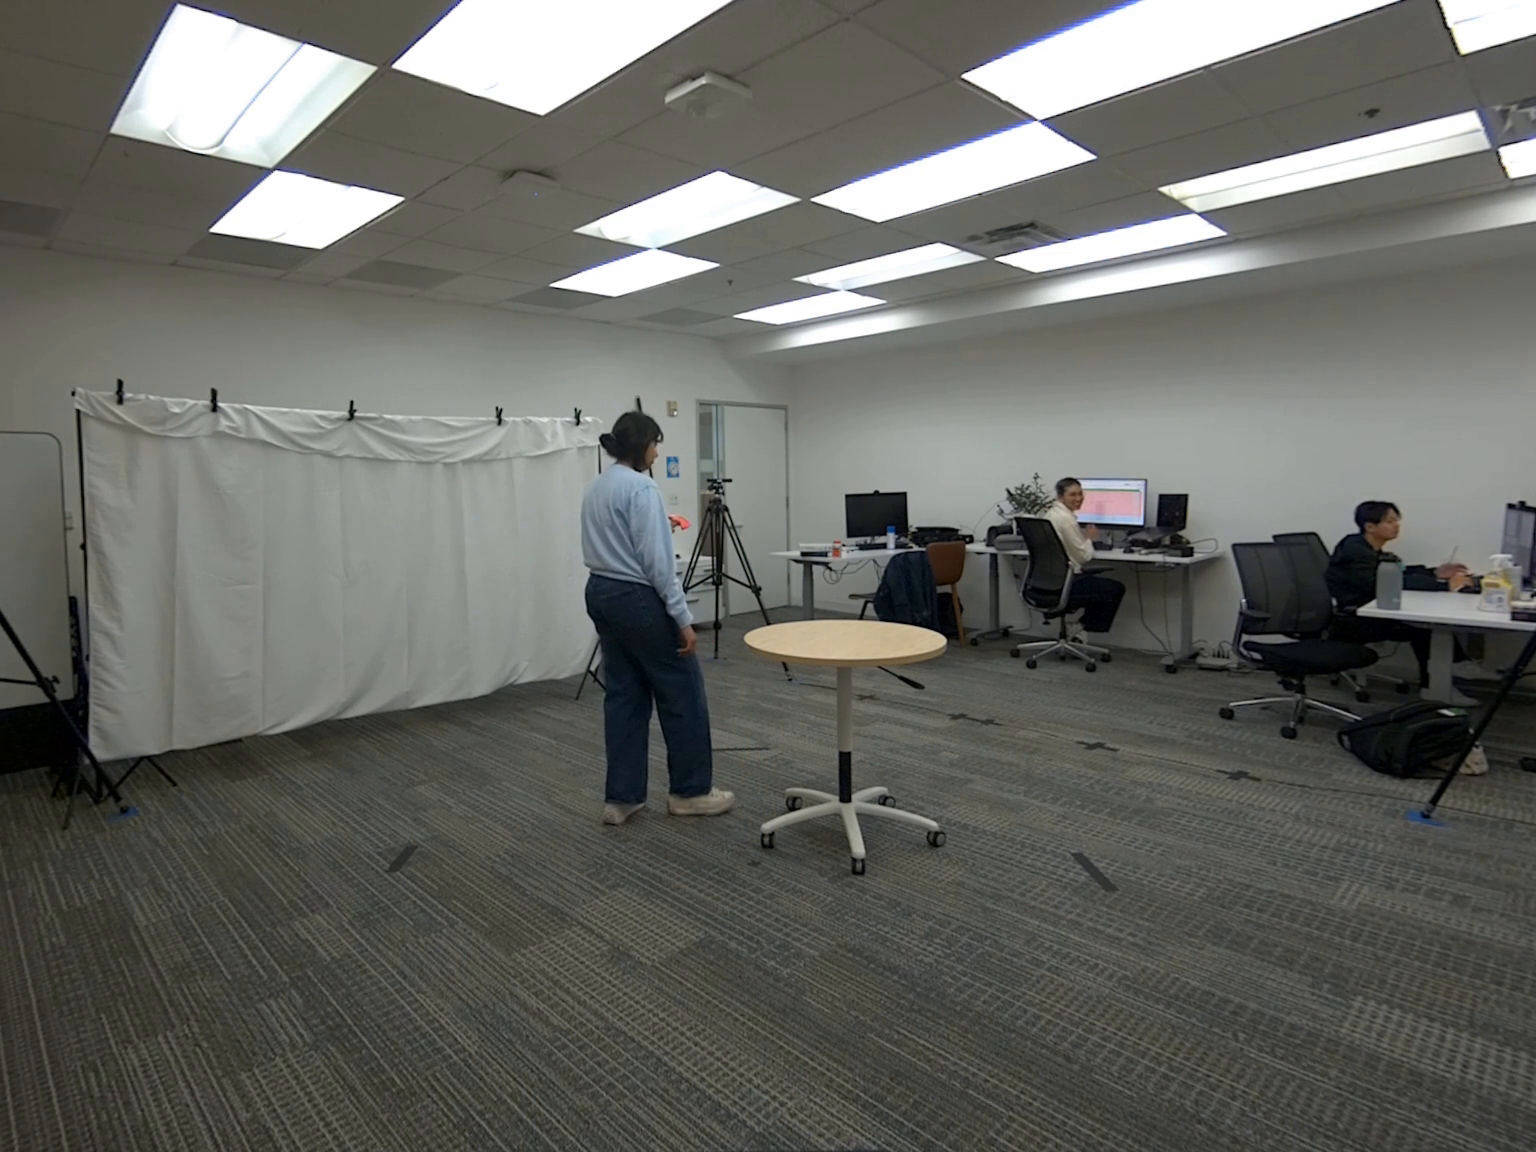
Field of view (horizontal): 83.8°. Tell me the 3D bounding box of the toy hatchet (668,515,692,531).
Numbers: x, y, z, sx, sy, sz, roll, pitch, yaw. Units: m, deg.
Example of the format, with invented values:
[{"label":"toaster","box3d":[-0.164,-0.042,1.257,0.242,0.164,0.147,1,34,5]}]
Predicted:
[{"label":"toy hatchet","box3d":[-0.416,-0.198,3.816,0.132,0.029,0.274,11,33,4]}]
